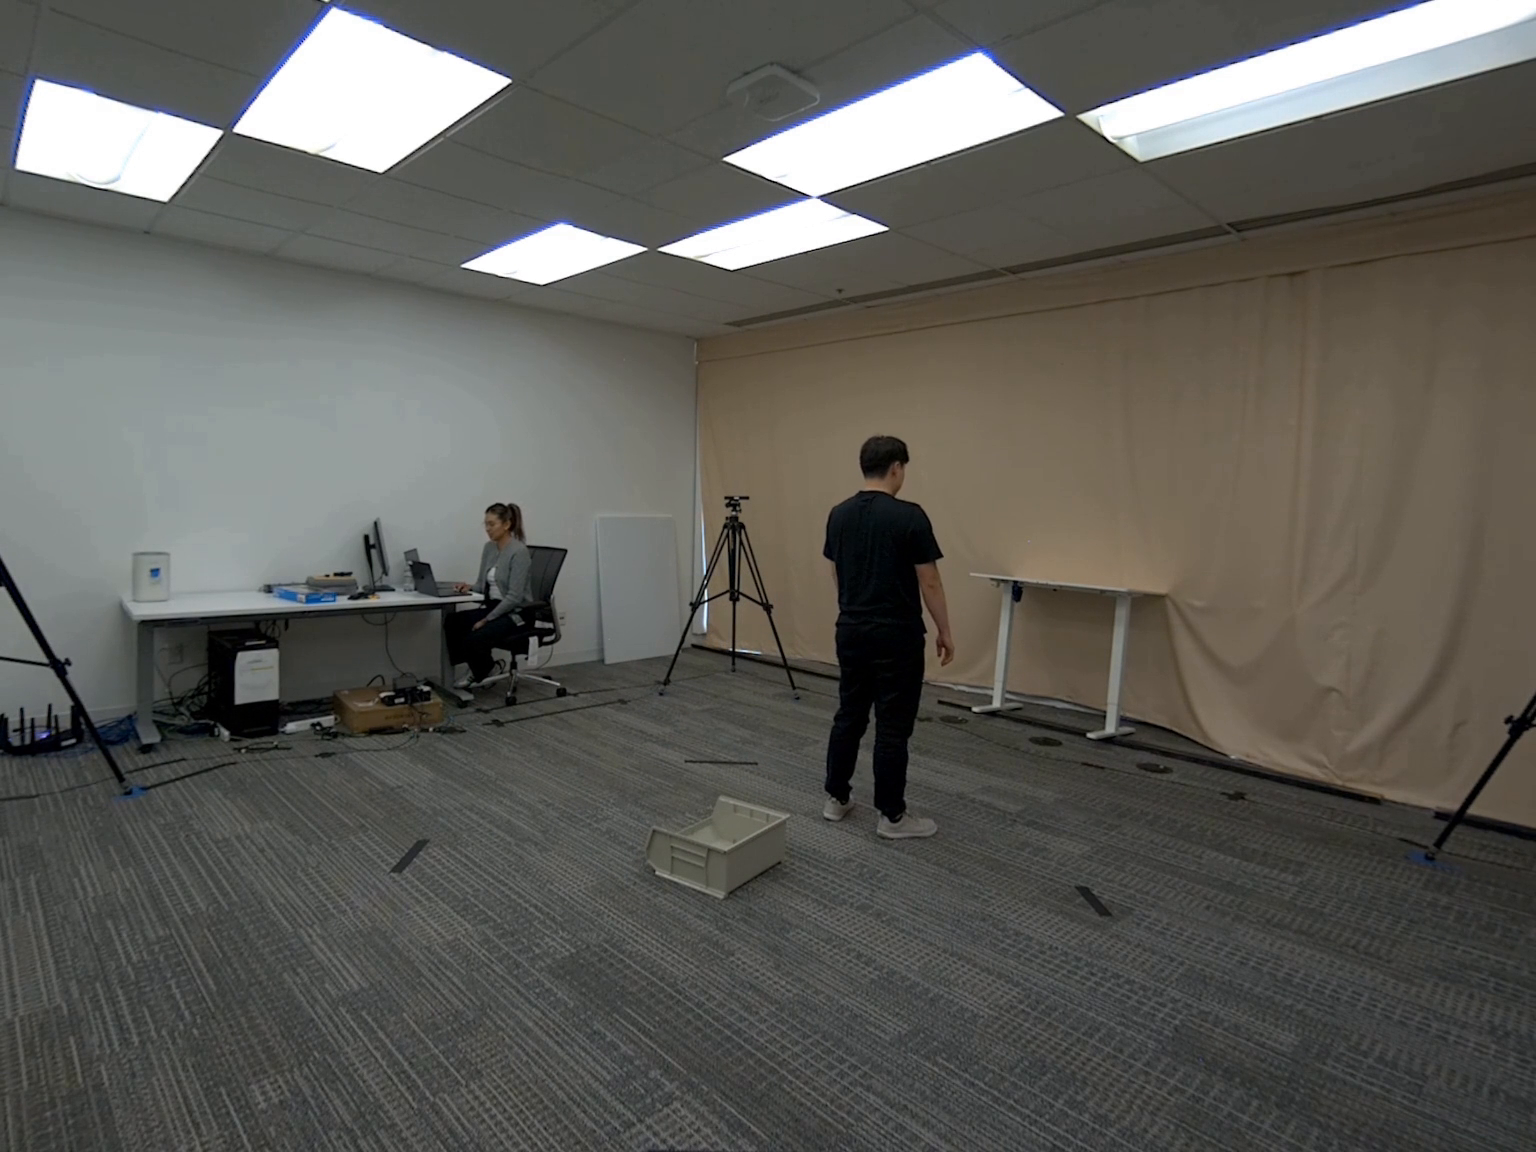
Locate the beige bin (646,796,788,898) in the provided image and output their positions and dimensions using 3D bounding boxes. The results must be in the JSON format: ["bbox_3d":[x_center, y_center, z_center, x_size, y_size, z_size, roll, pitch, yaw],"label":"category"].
[{"bbox_3d":[-0.191,1.009,3.175,0.386,0.188,0.413,5,6,35],"label":"beige bin"}]
